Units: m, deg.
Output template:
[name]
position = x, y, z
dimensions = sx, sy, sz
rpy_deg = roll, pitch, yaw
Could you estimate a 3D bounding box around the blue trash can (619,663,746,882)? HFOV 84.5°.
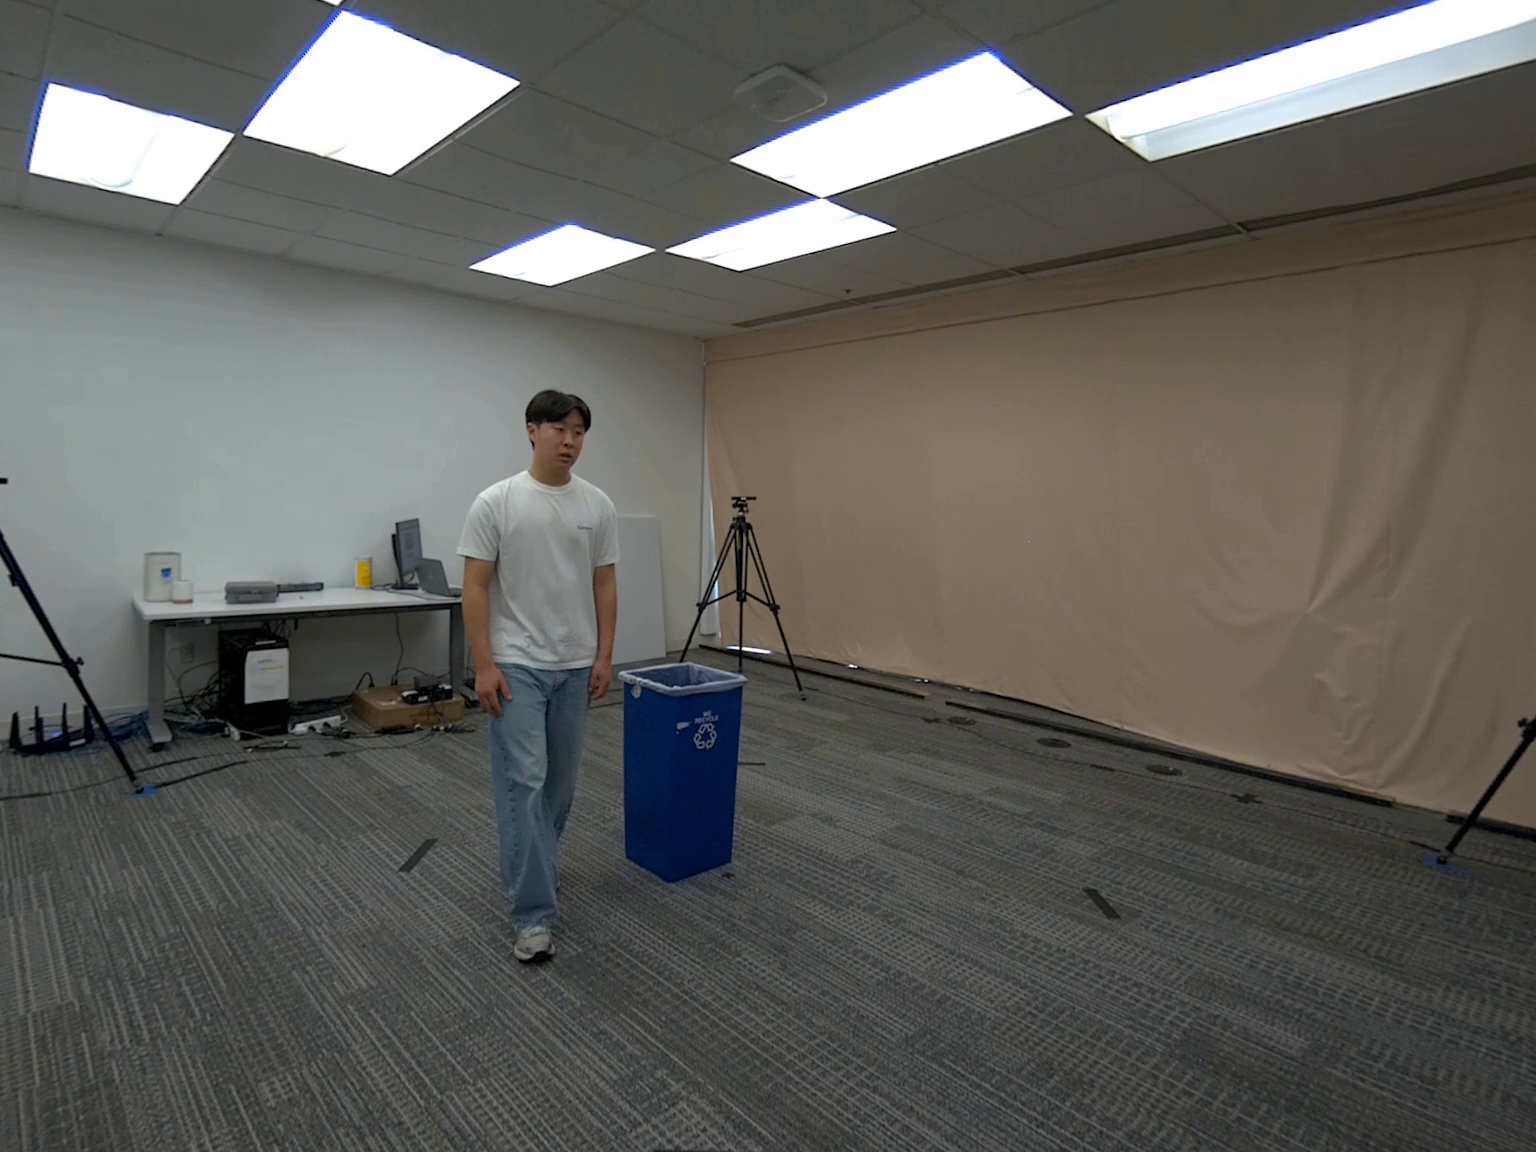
[blue trash can]
position = -0.338, 0.732, 3.228
dimensions = 0.365, 0.712, 0.388
rpy_deg = -2, 5, -43
